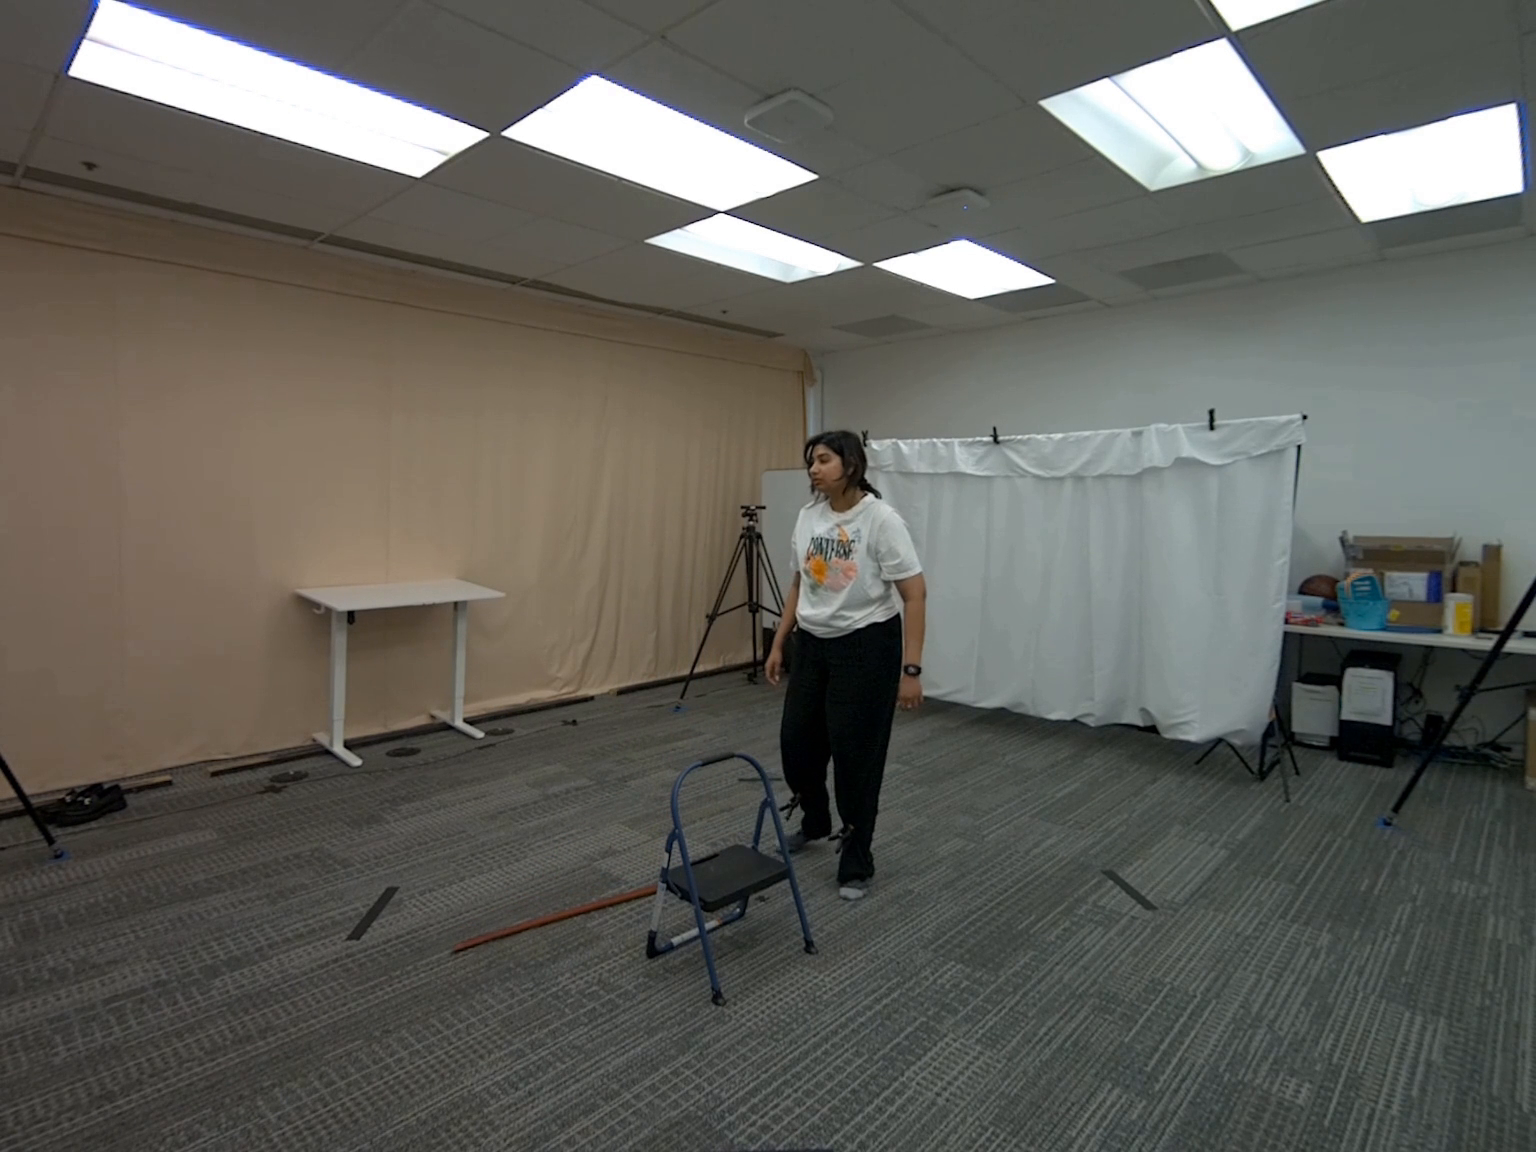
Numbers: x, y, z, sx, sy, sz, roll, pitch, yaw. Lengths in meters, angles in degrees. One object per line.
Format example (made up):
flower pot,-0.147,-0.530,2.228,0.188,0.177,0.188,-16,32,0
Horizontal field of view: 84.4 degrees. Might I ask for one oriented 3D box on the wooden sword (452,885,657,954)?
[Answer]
wooden sword,-0.560,1.125,2.912,0.996,0.051,0.025,-4,40,-33
